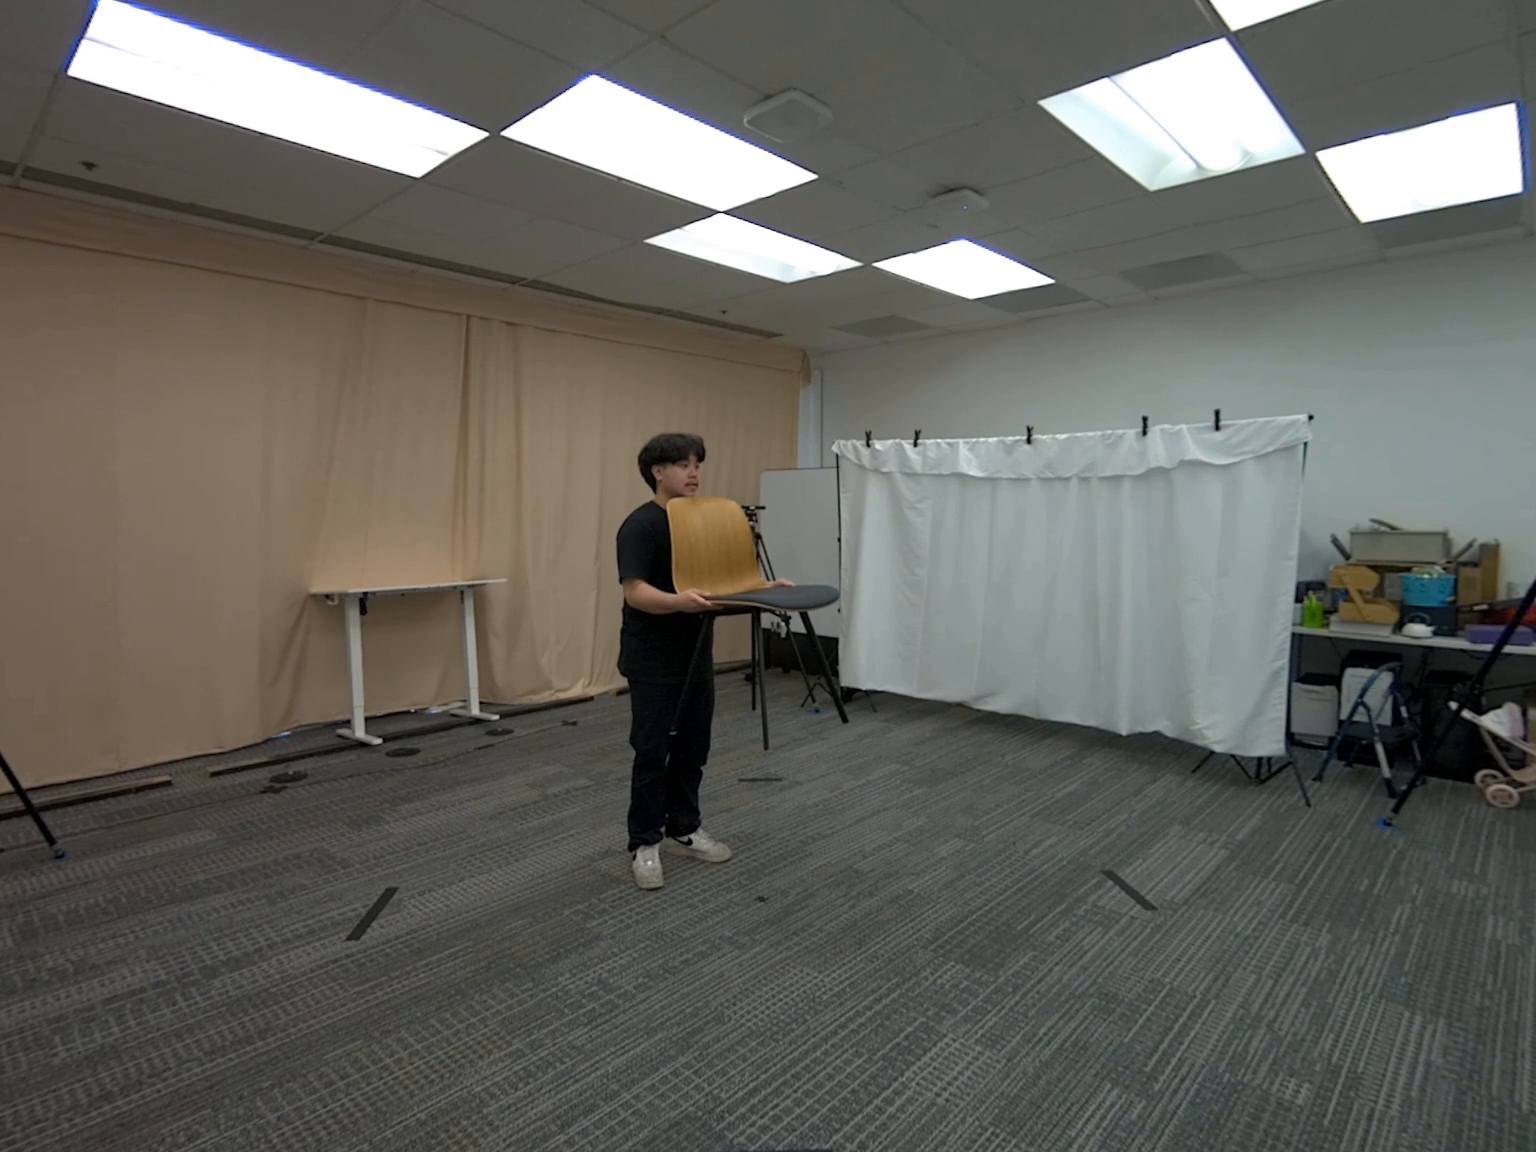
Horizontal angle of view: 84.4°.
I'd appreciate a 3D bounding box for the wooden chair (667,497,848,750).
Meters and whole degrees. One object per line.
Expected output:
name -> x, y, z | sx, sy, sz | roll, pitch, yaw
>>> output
wooden chair -> -0.039, 0.123, 2.980 | 0.538, 0.879, 0.463 | -8, -3, 41
